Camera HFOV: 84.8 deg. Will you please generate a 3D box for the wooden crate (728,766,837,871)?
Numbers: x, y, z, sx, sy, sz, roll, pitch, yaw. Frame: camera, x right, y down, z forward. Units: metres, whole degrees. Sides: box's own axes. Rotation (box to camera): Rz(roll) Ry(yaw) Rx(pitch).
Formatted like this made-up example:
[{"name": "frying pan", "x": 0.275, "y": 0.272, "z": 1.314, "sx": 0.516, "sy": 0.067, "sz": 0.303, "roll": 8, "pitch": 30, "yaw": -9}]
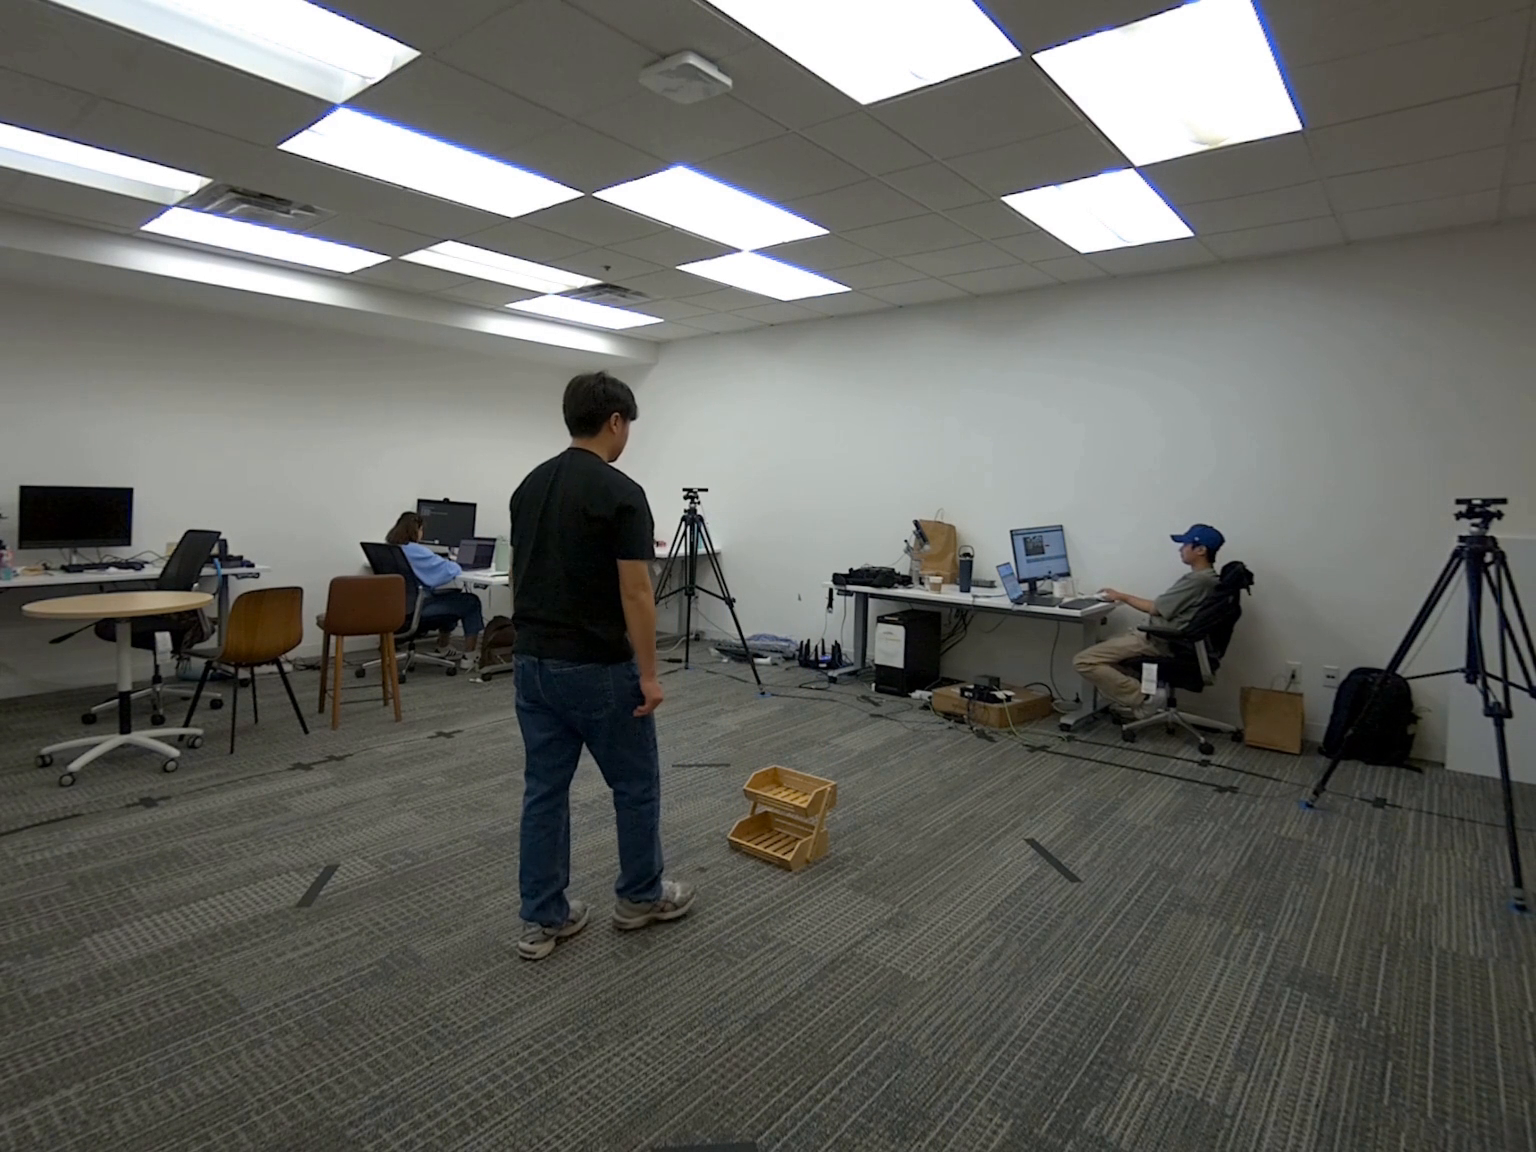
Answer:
[{"name": "wooden crate", "x": 0.044, "y": 0.932, "z": 3.306, "sx": 0.335, "sy": 0.272, "sz": 0.293, "roll": 6, "pitch": 5, "yaw": 39}]
